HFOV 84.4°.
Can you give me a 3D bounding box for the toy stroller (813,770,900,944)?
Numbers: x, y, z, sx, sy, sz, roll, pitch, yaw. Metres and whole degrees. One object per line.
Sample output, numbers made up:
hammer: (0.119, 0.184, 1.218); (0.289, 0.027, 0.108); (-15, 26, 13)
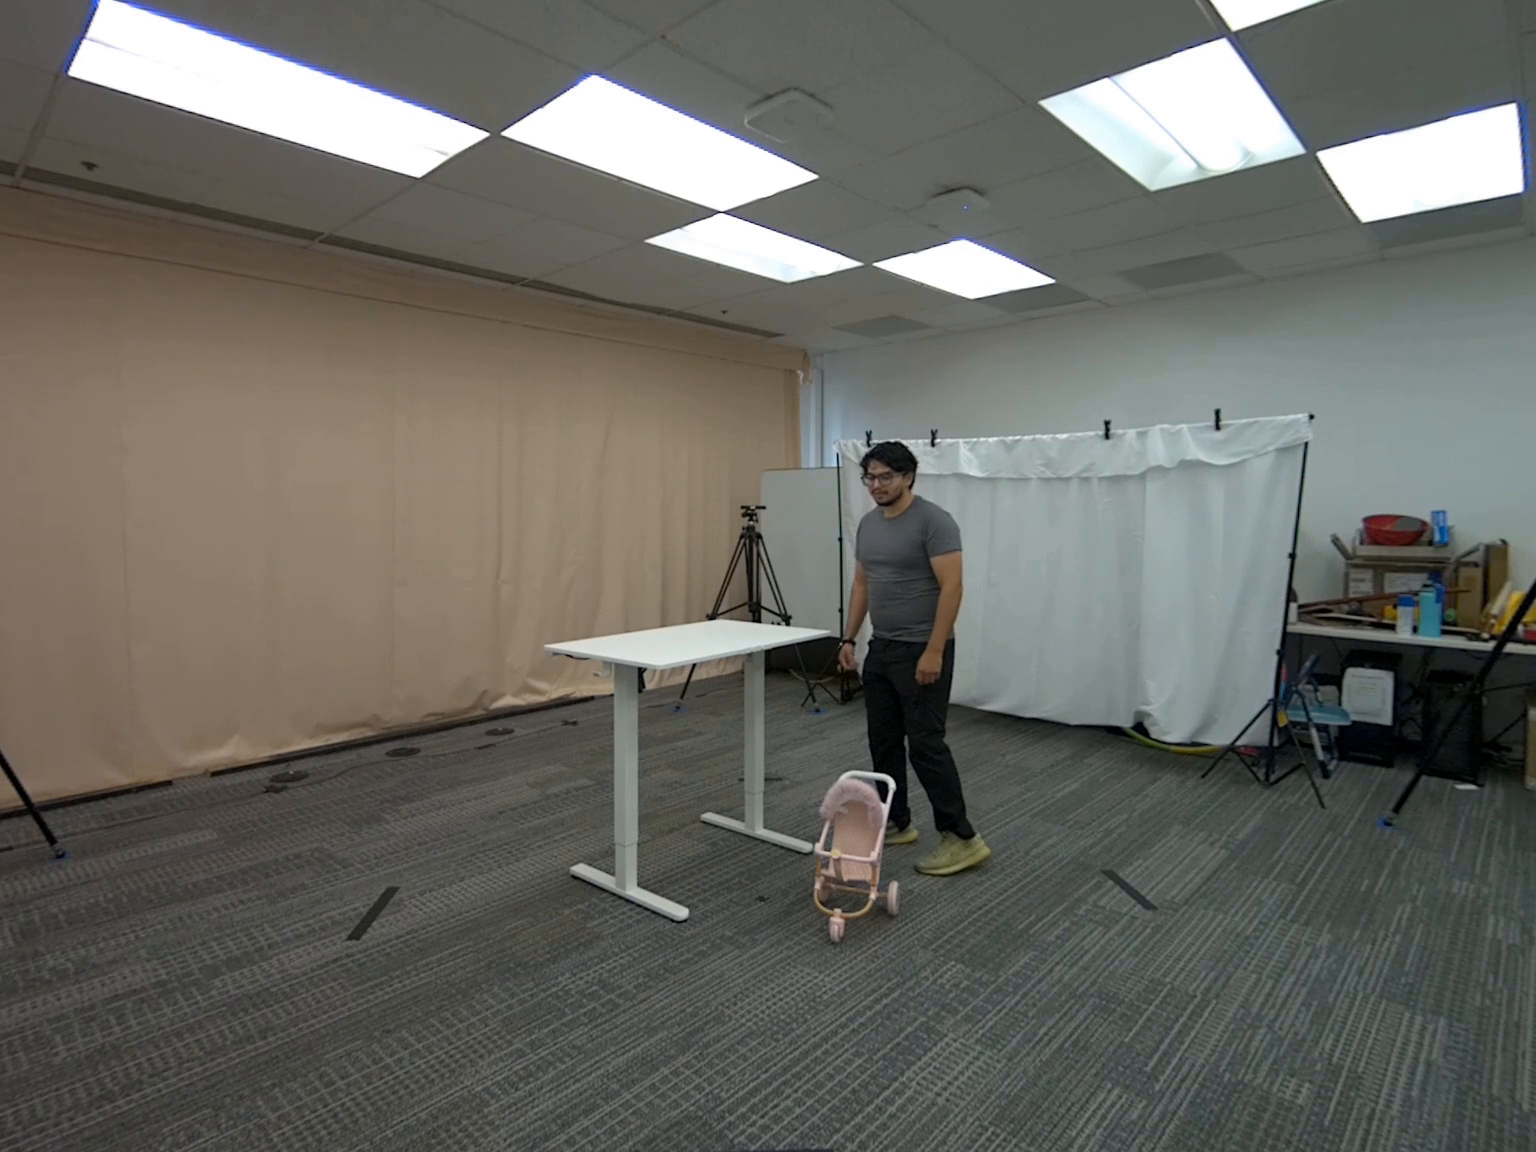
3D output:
toy stroller: (0.289, 0.931, 2.849); (0.289, 0.538, 0.330); (0, -13, 27)
